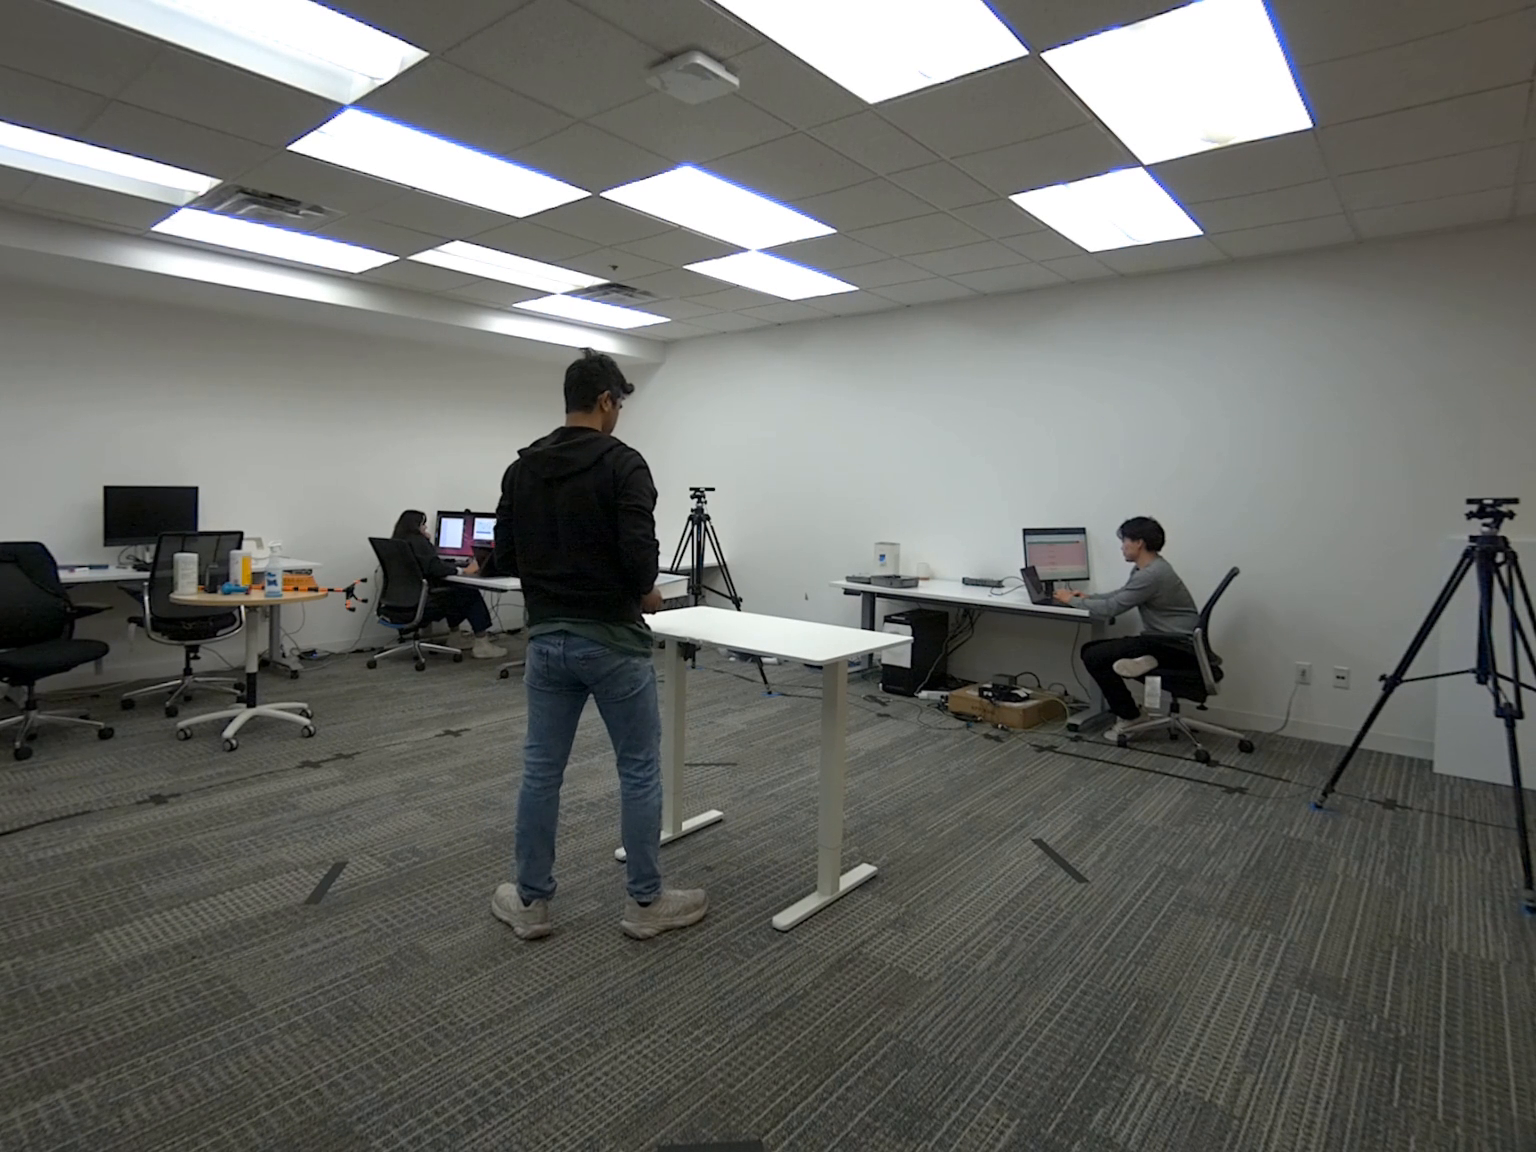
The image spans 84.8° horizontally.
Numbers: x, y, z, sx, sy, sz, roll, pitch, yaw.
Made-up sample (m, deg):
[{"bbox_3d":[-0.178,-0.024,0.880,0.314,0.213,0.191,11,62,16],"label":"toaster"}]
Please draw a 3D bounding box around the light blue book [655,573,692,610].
[{"bbox_3d":[-0.425,0.042,2.951,0.197,0.058,0.255,6,9,29],"label":"light blue book"}]
